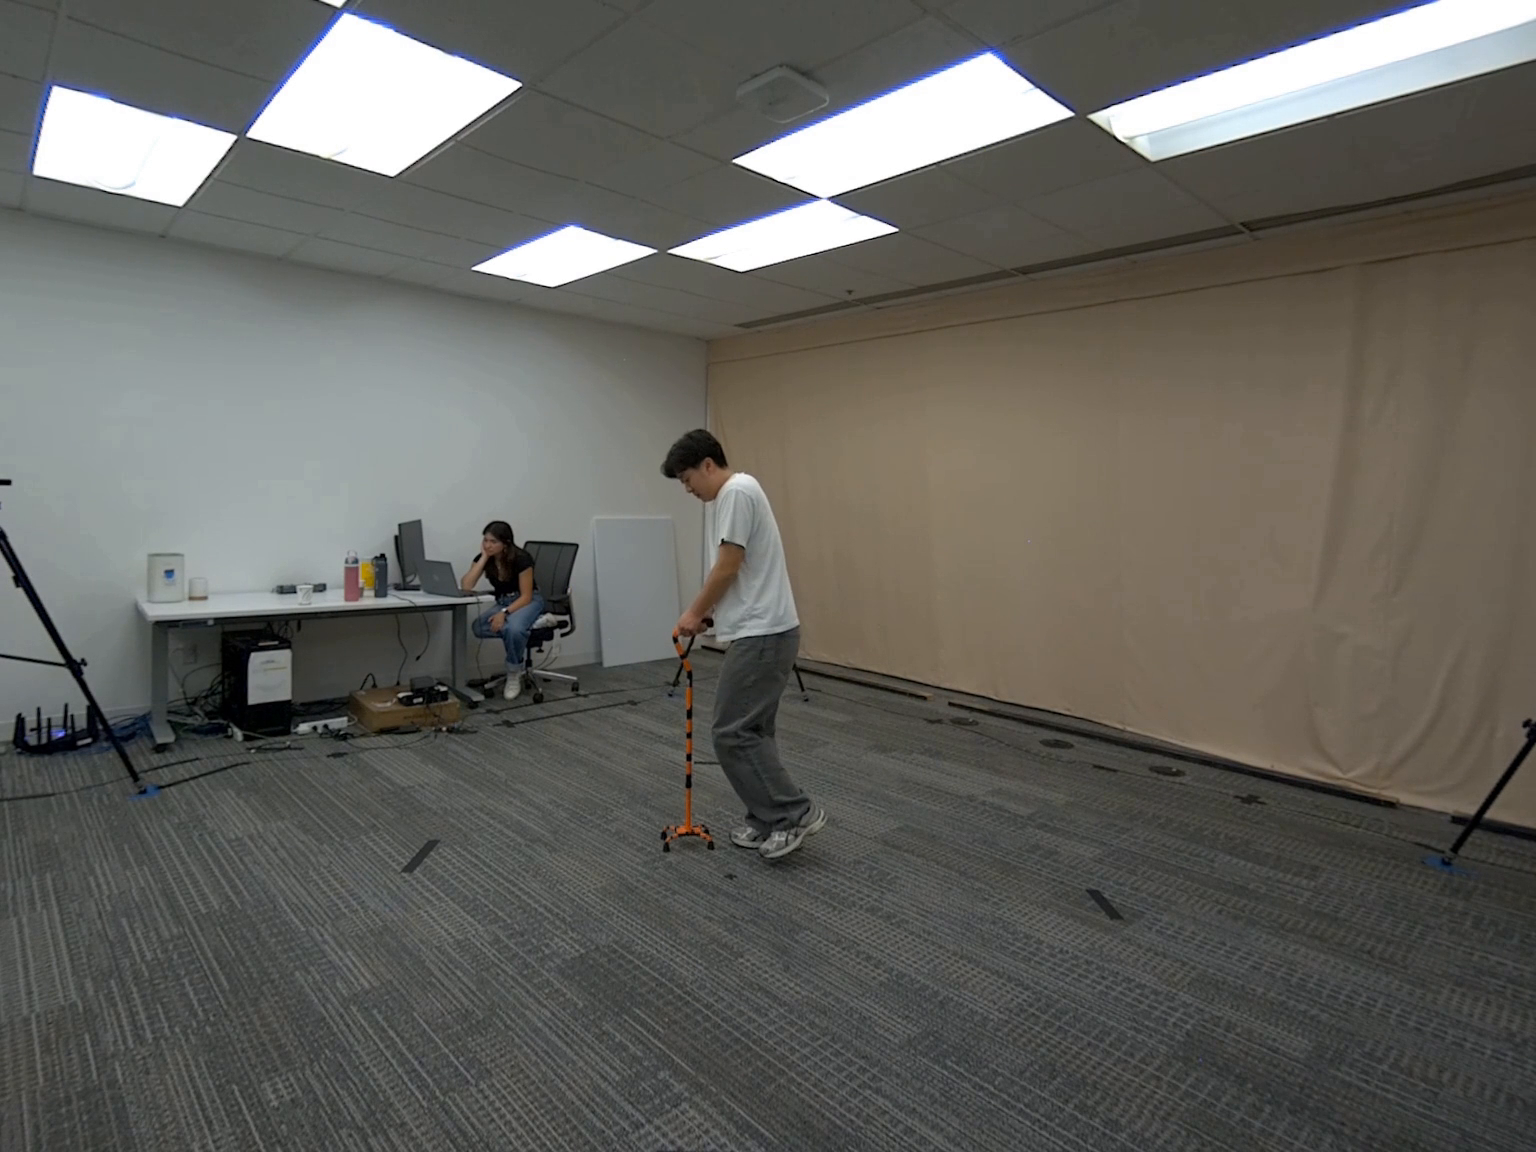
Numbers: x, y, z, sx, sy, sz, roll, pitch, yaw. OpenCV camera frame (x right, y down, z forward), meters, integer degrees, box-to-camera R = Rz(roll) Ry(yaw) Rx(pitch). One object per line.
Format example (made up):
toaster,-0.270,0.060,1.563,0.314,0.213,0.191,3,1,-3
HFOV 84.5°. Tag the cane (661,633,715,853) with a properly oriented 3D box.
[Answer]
cane,-0.319,0.631,3.364,0.204,0.906,0.153,1,3,-11
